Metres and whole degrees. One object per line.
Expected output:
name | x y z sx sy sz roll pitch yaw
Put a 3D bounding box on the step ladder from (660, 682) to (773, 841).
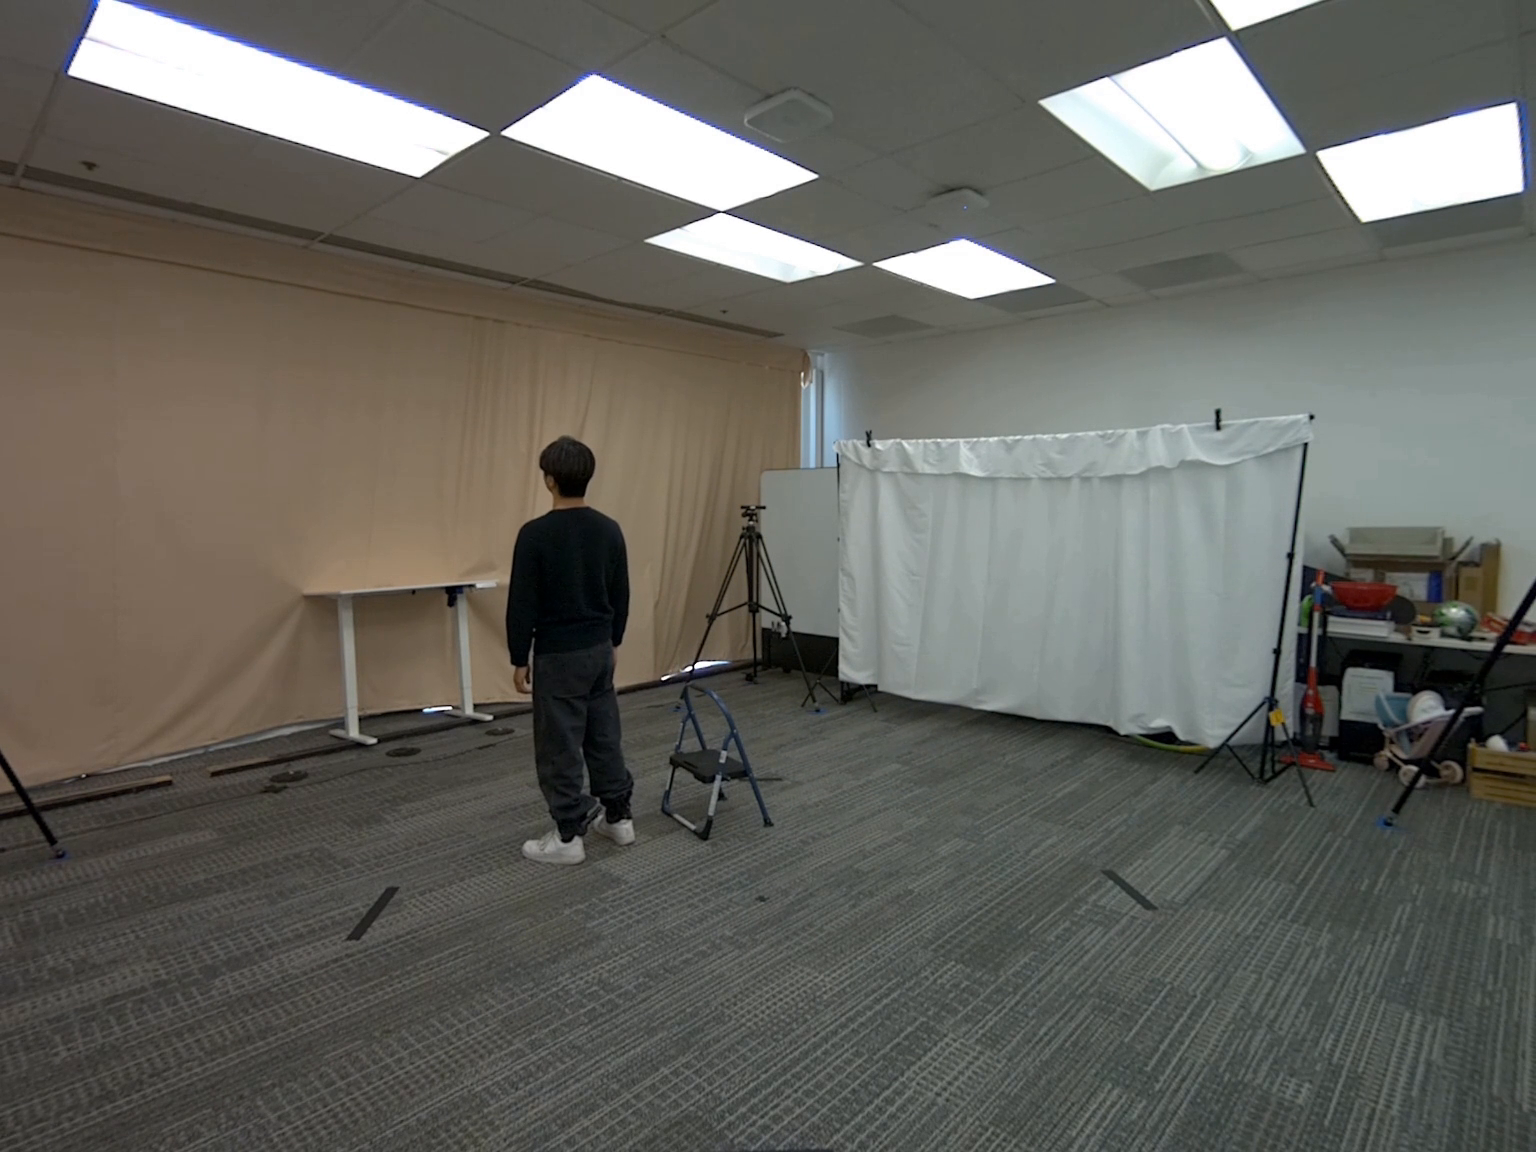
step ladder | -0.239 0.777 3.745 0.339 0.605 0.443 -2 3 -32
